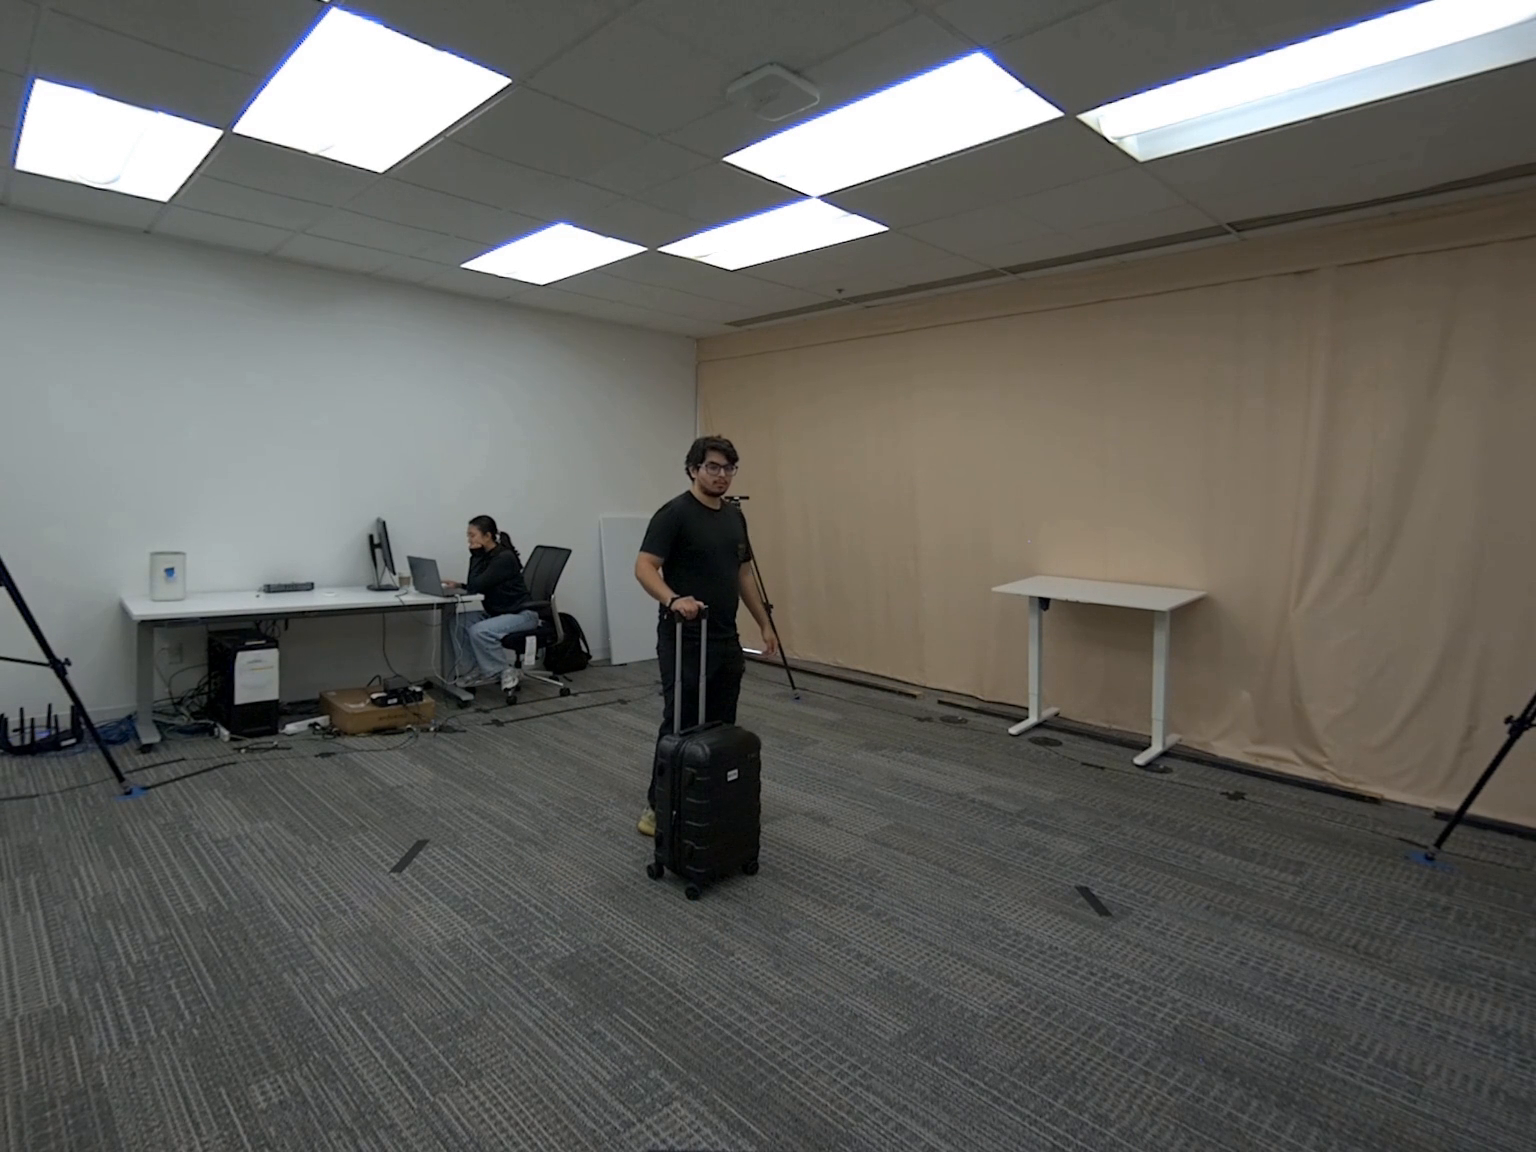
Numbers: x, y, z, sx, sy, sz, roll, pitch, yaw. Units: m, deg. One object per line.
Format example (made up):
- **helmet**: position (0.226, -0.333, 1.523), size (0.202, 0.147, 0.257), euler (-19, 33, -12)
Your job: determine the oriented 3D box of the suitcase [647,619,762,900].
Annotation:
- **suitcase**: position (-0.213, 0.631, 3.060), size (0.264, 0.975, 0.375), euler (8, 7, 41)
